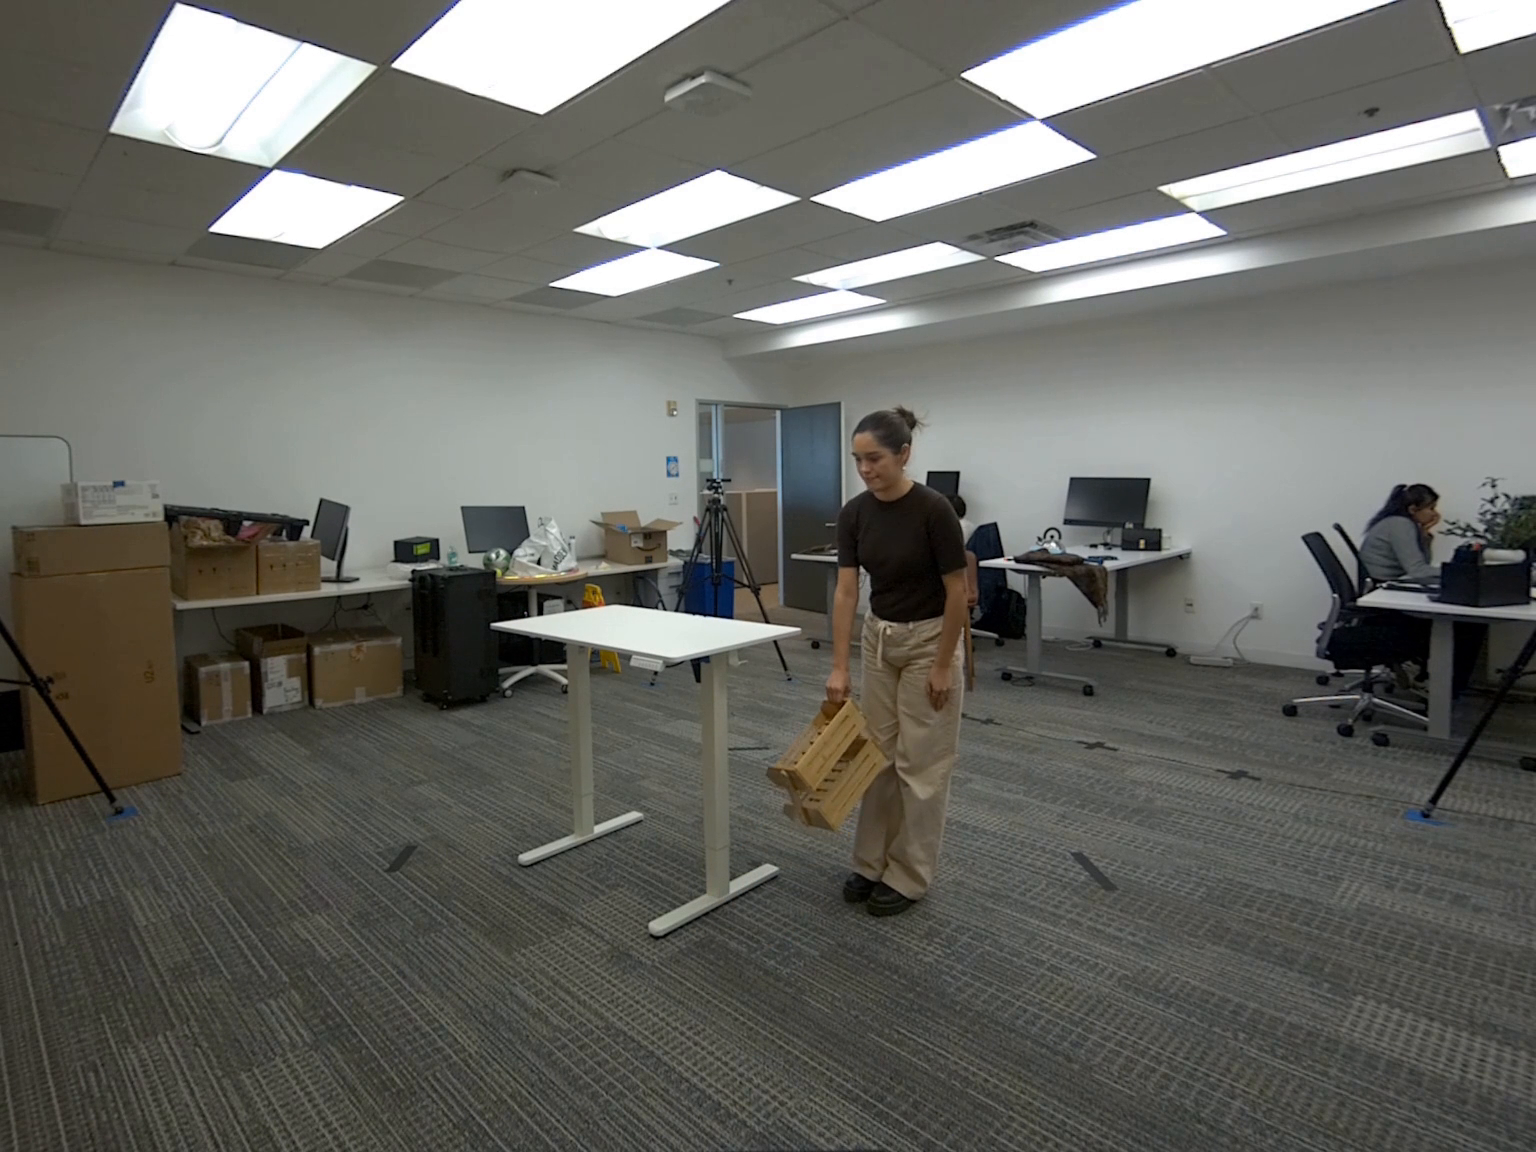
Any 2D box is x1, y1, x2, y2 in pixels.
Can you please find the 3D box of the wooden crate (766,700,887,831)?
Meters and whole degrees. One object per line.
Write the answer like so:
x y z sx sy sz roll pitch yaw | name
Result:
0.172 0.586 2.718 0.324 0.269 0.307 -45 16 -28 | wooden crate
